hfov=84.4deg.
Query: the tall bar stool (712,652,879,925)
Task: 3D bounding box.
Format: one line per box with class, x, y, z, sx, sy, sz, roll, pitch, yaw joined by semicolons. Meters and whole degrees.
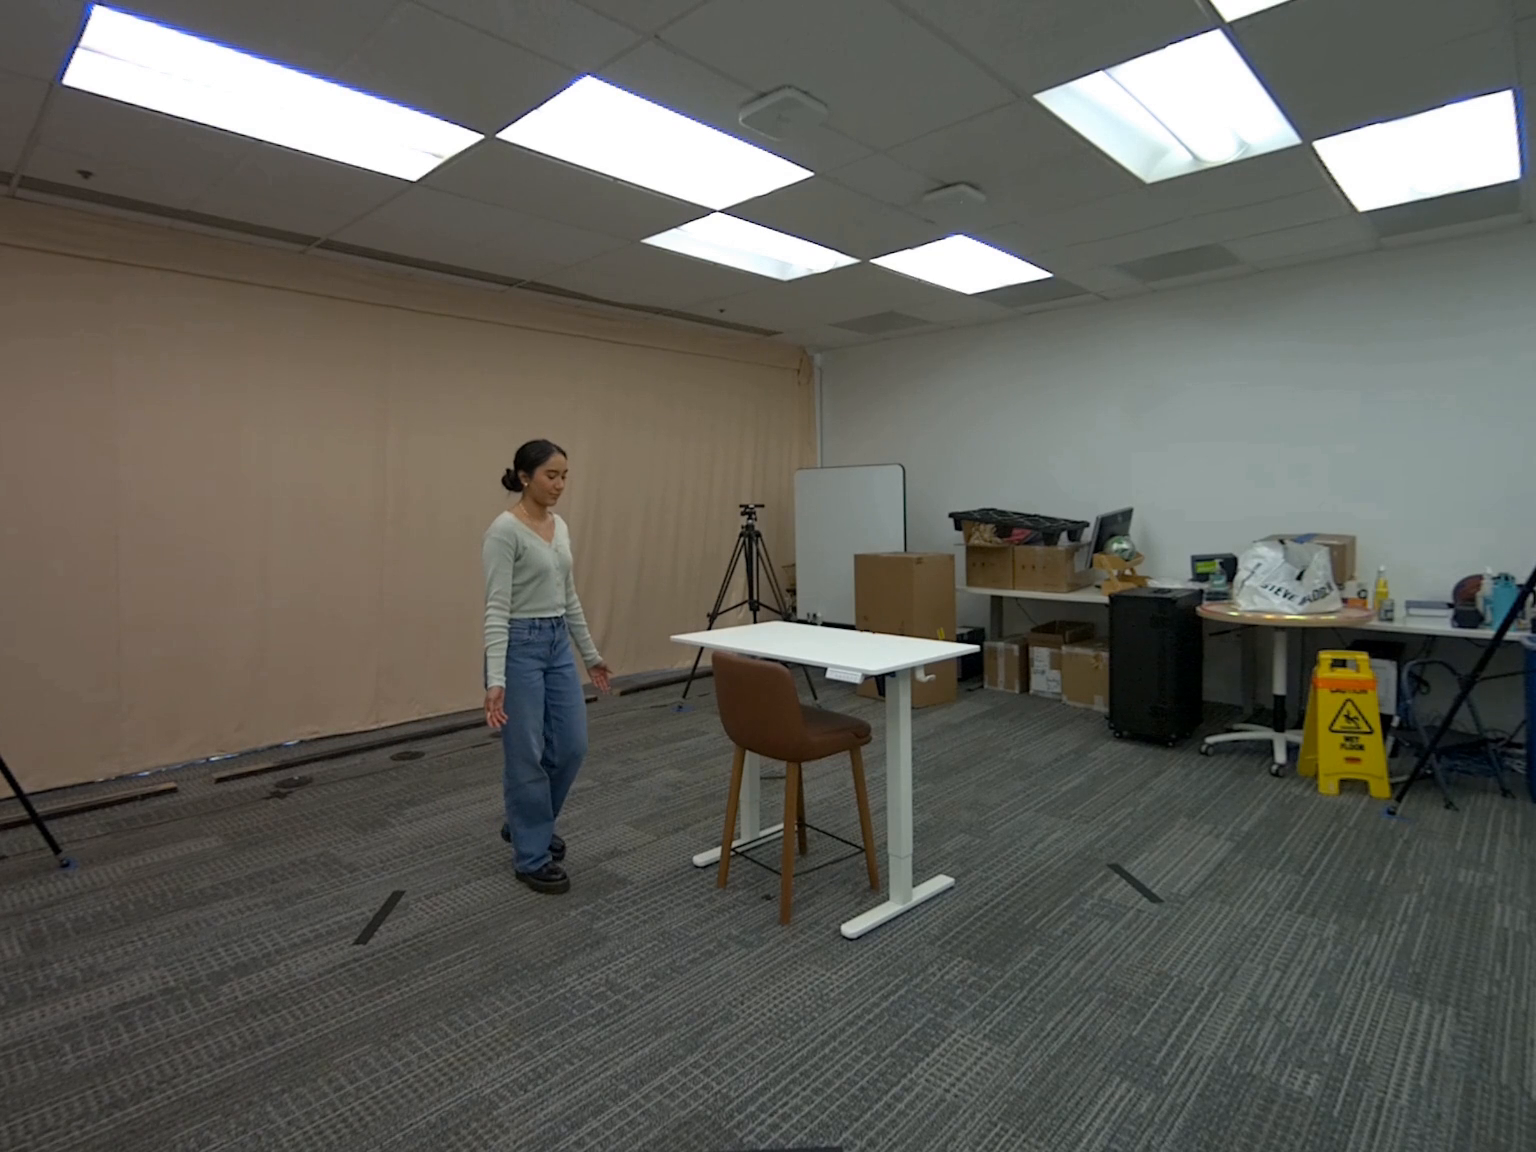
tall bar stool;0.090;0.701;3.032;0.454;0.886;0.471;-7;7;-39
